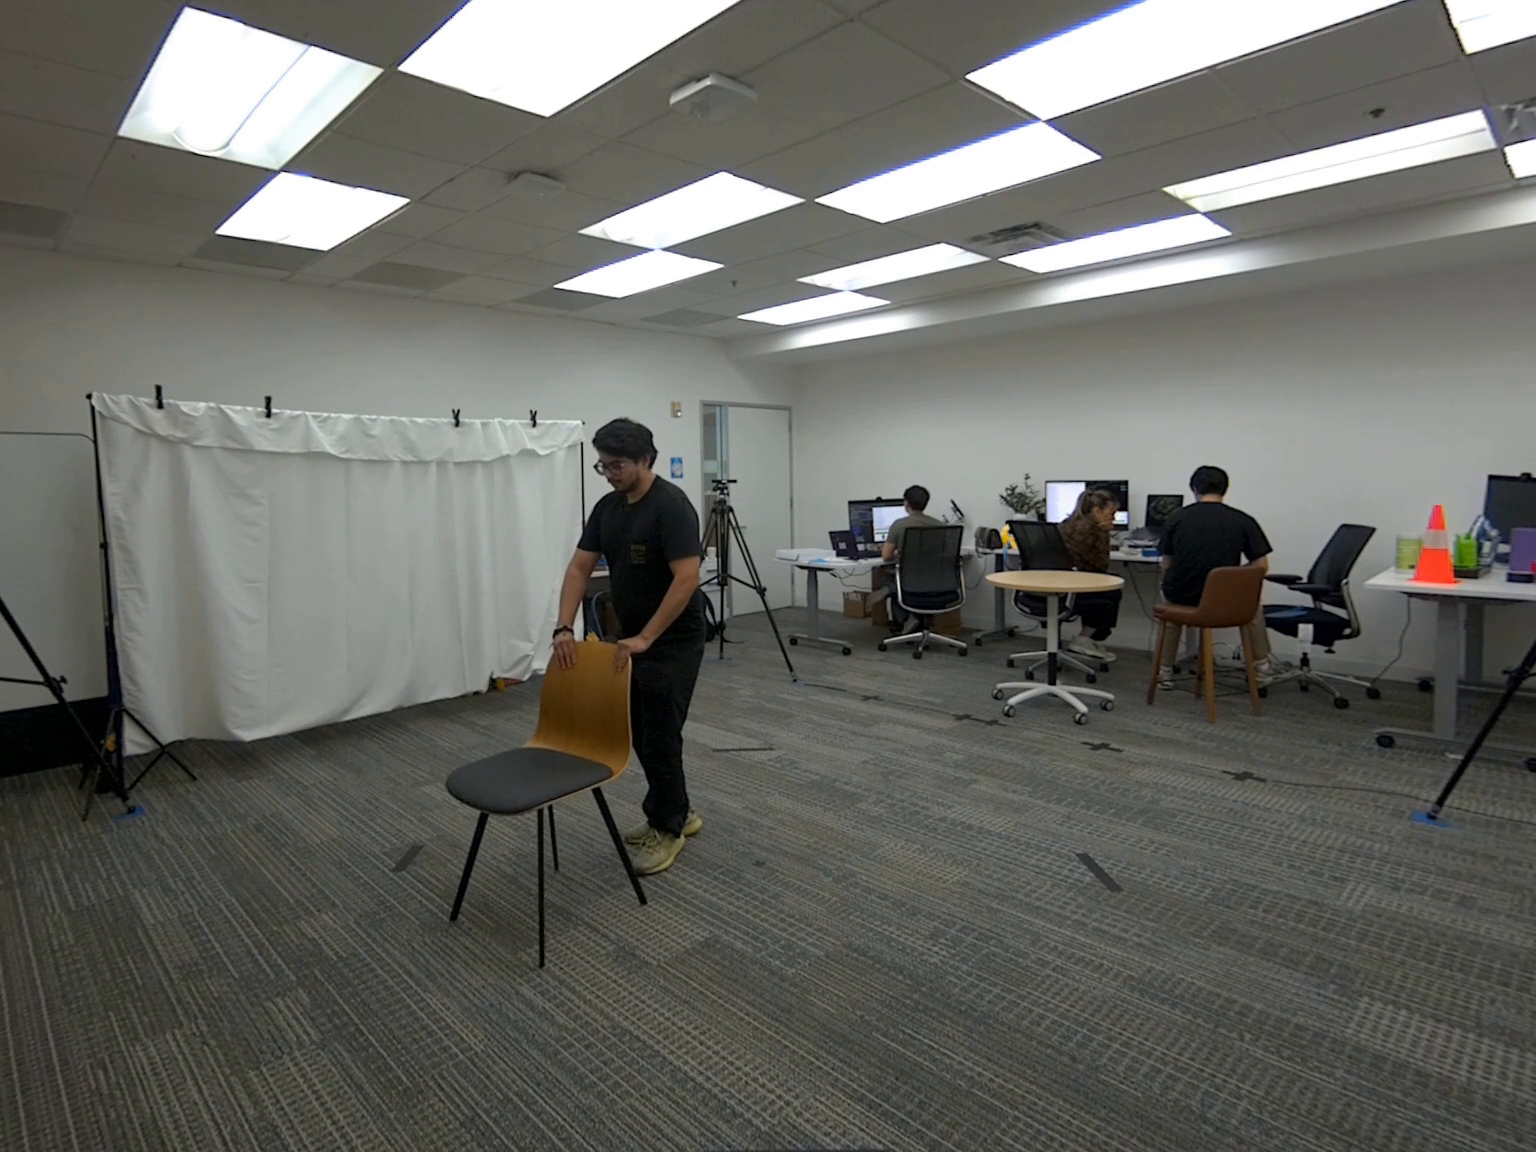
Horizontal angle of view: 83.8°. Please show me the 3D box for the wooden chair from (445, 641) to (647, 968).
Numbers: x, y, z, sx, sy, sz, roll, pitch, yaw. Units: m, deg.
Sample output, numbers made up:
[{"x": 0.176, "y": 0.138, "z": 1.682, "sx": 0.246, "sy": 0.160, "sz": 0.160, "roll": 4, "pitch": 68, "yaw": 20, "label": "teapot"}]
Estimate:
[{"x": -0.714, "y": 0.672, "z": 2.742, "sx": 0.492, "sy": 0.877, "sz": 0.508, "roll": 3, "pitch": 1, "yaw": 36, "label": "wooden chair"}]
